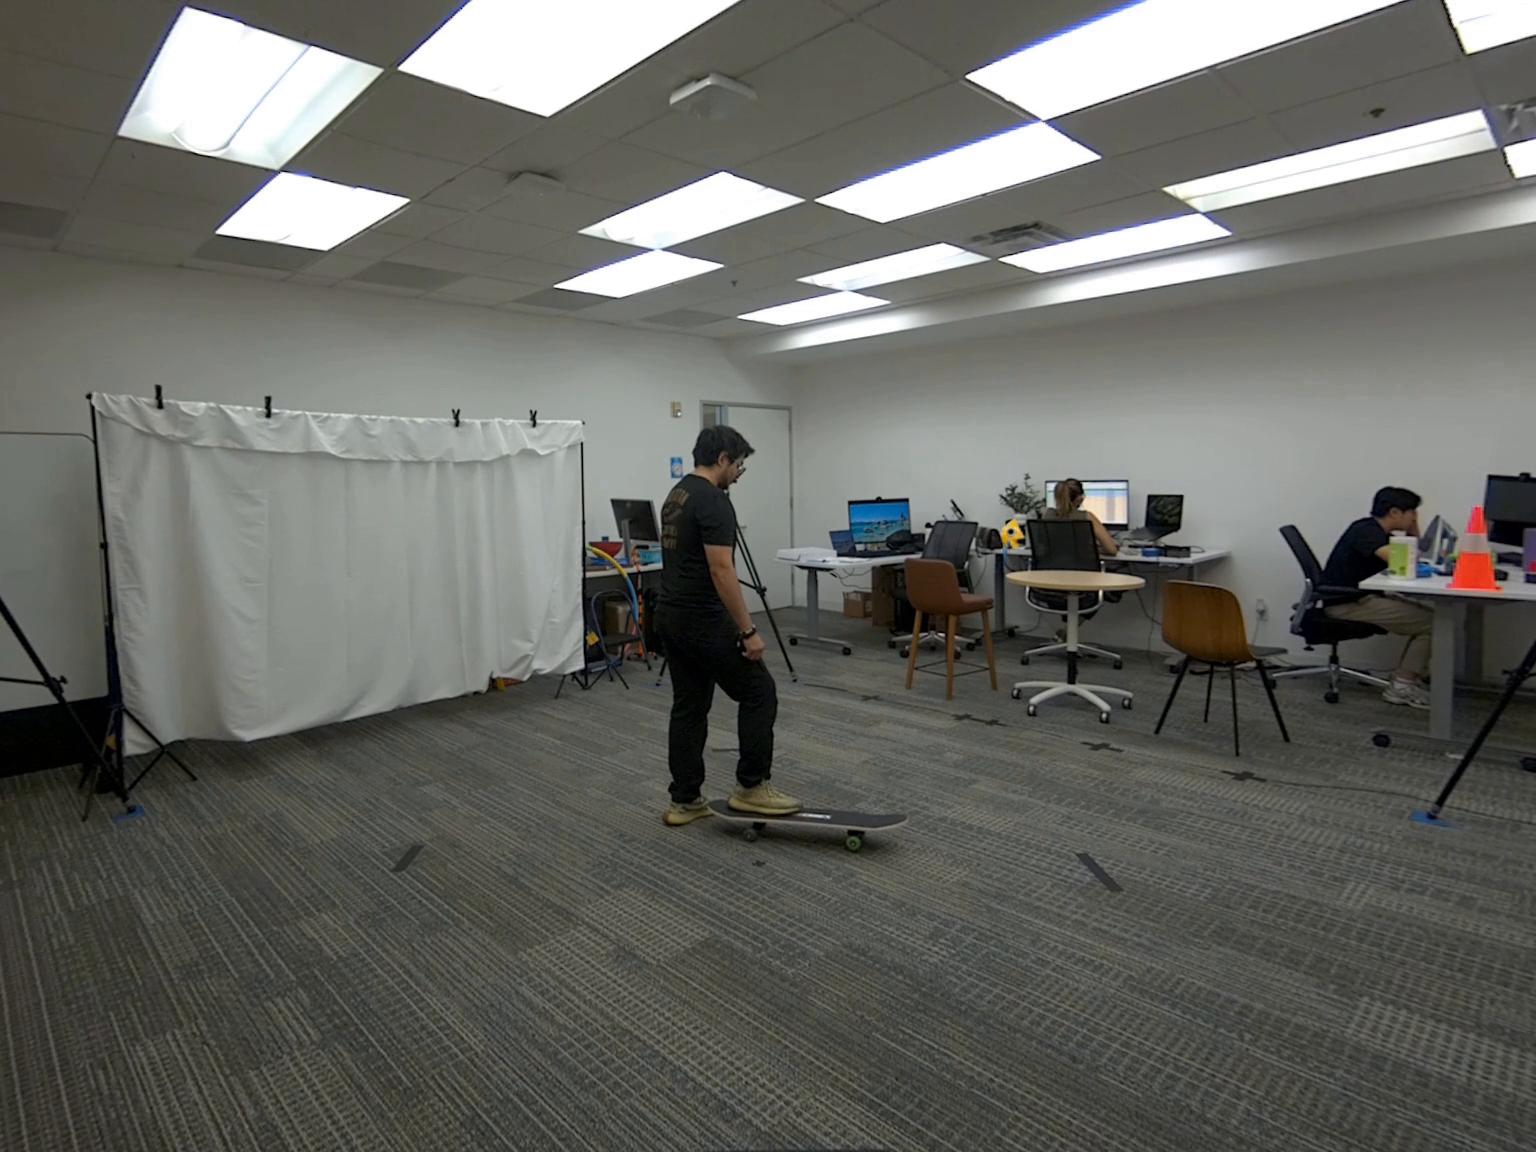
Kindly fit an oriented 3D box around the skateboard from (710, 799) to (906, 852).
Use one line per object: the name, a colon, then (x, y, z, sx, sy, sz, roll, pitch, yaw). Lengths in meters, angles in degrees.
skateboard: (0.157, 0.965, 3.322, 0.798, 0.110, 0.190, -1, 2, 17)
